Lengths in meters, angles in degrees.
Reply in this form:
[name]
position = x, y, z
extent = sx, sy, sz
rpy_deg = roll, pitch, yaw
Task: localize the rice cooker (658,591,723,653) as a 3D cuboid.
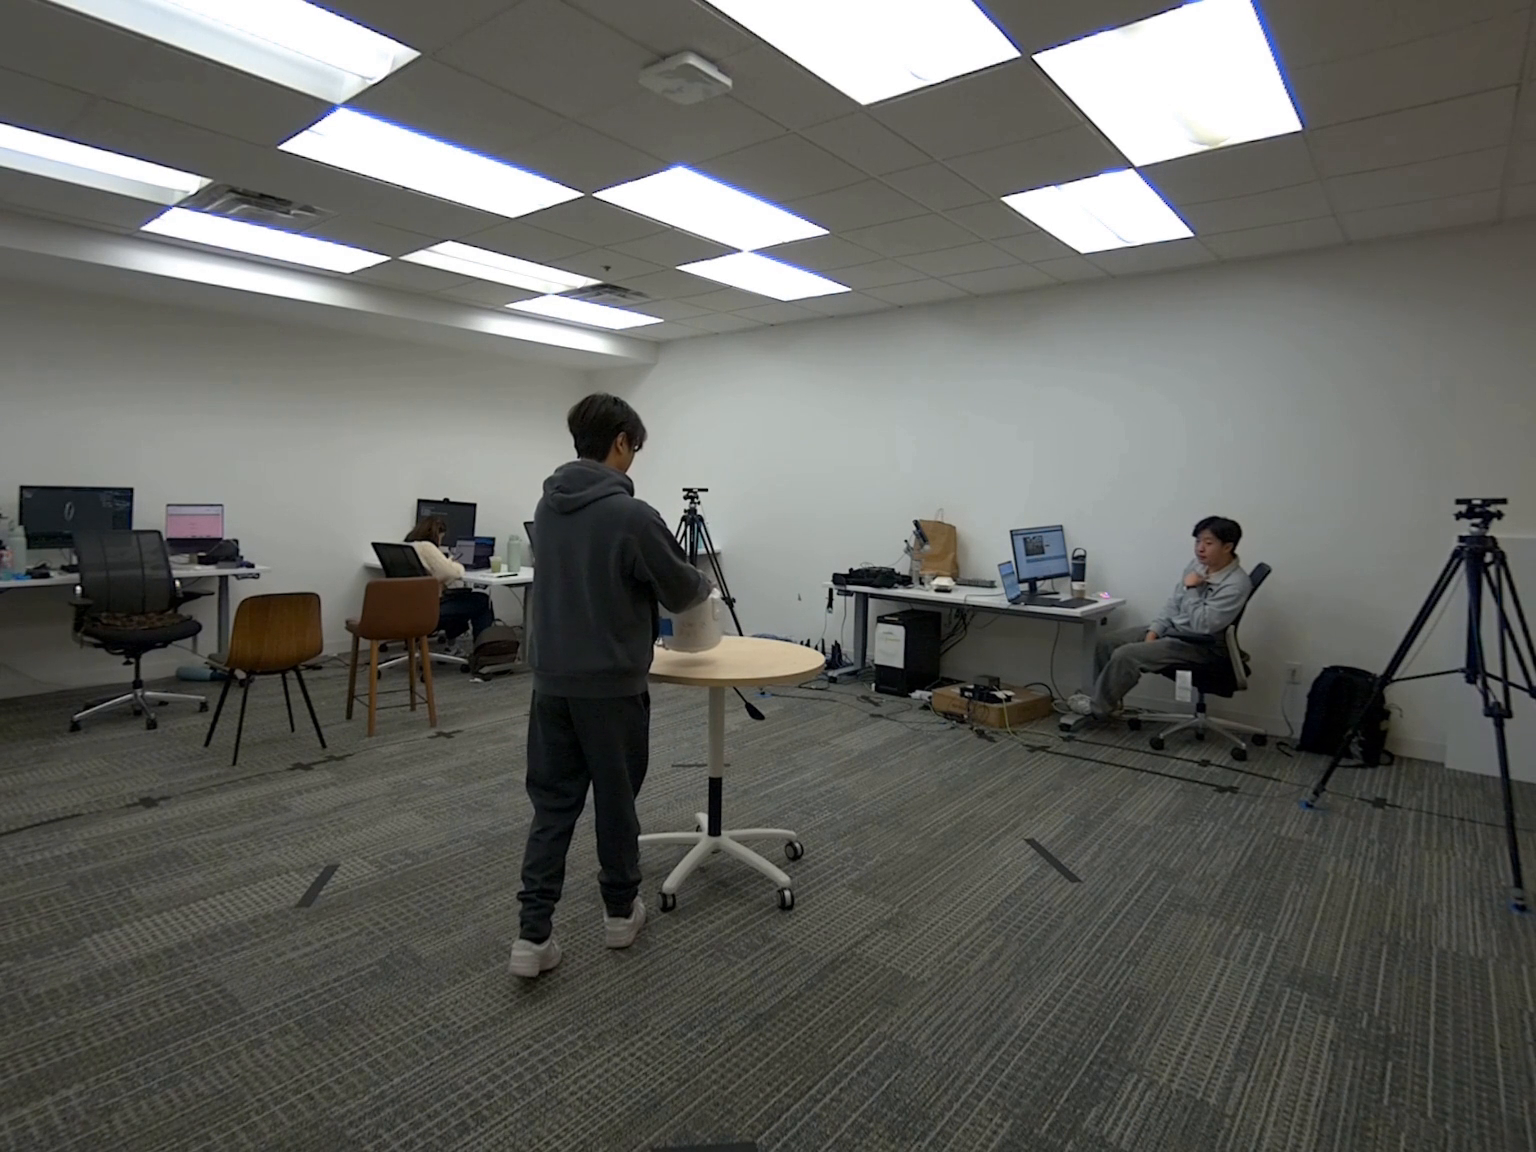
[rice cooker]
position = -0.274, 0.127, 2.906
extent = 0.227, 0.231, 0.213
rpy_deg = 4, 10, 31
